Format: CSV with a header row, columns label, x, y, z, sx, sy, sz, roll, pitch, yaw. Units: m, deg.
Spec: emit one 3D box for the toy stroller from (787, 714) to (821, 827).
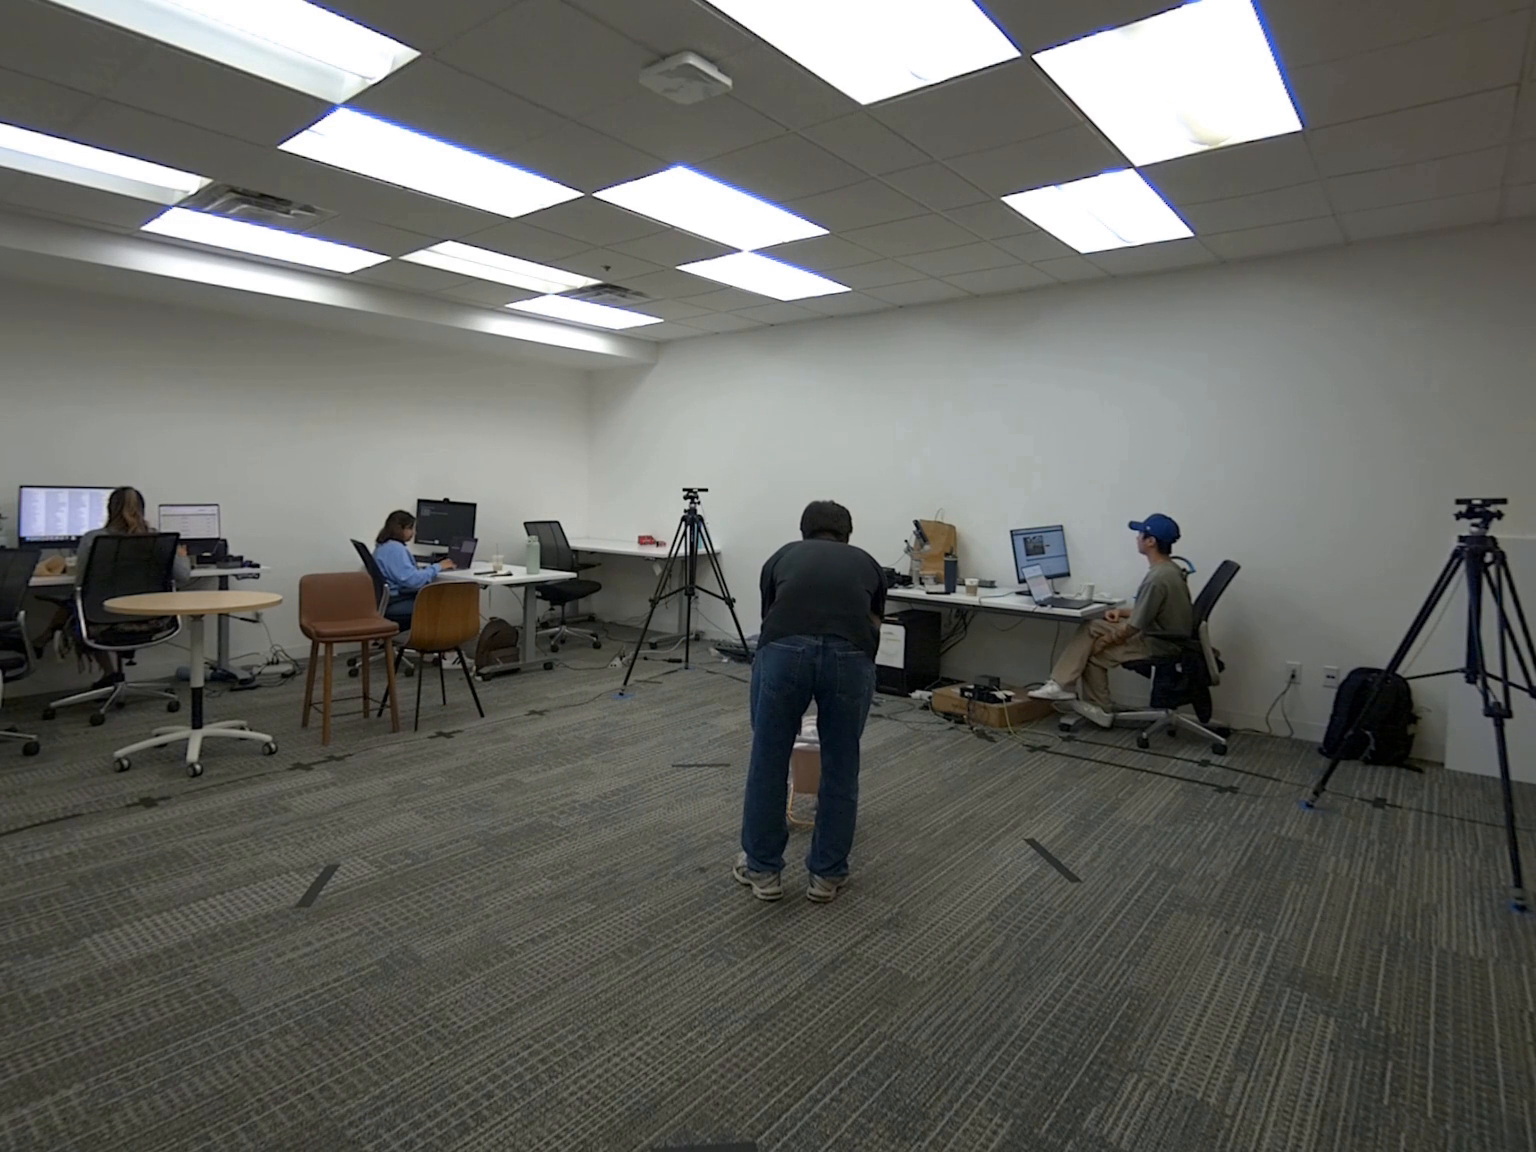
label,x,y,z,sx,sy,sz,roll,pitch,yaw
toy stroller,0.185,0.817,3.557,0.286,0.525,0.342,3,19,13
